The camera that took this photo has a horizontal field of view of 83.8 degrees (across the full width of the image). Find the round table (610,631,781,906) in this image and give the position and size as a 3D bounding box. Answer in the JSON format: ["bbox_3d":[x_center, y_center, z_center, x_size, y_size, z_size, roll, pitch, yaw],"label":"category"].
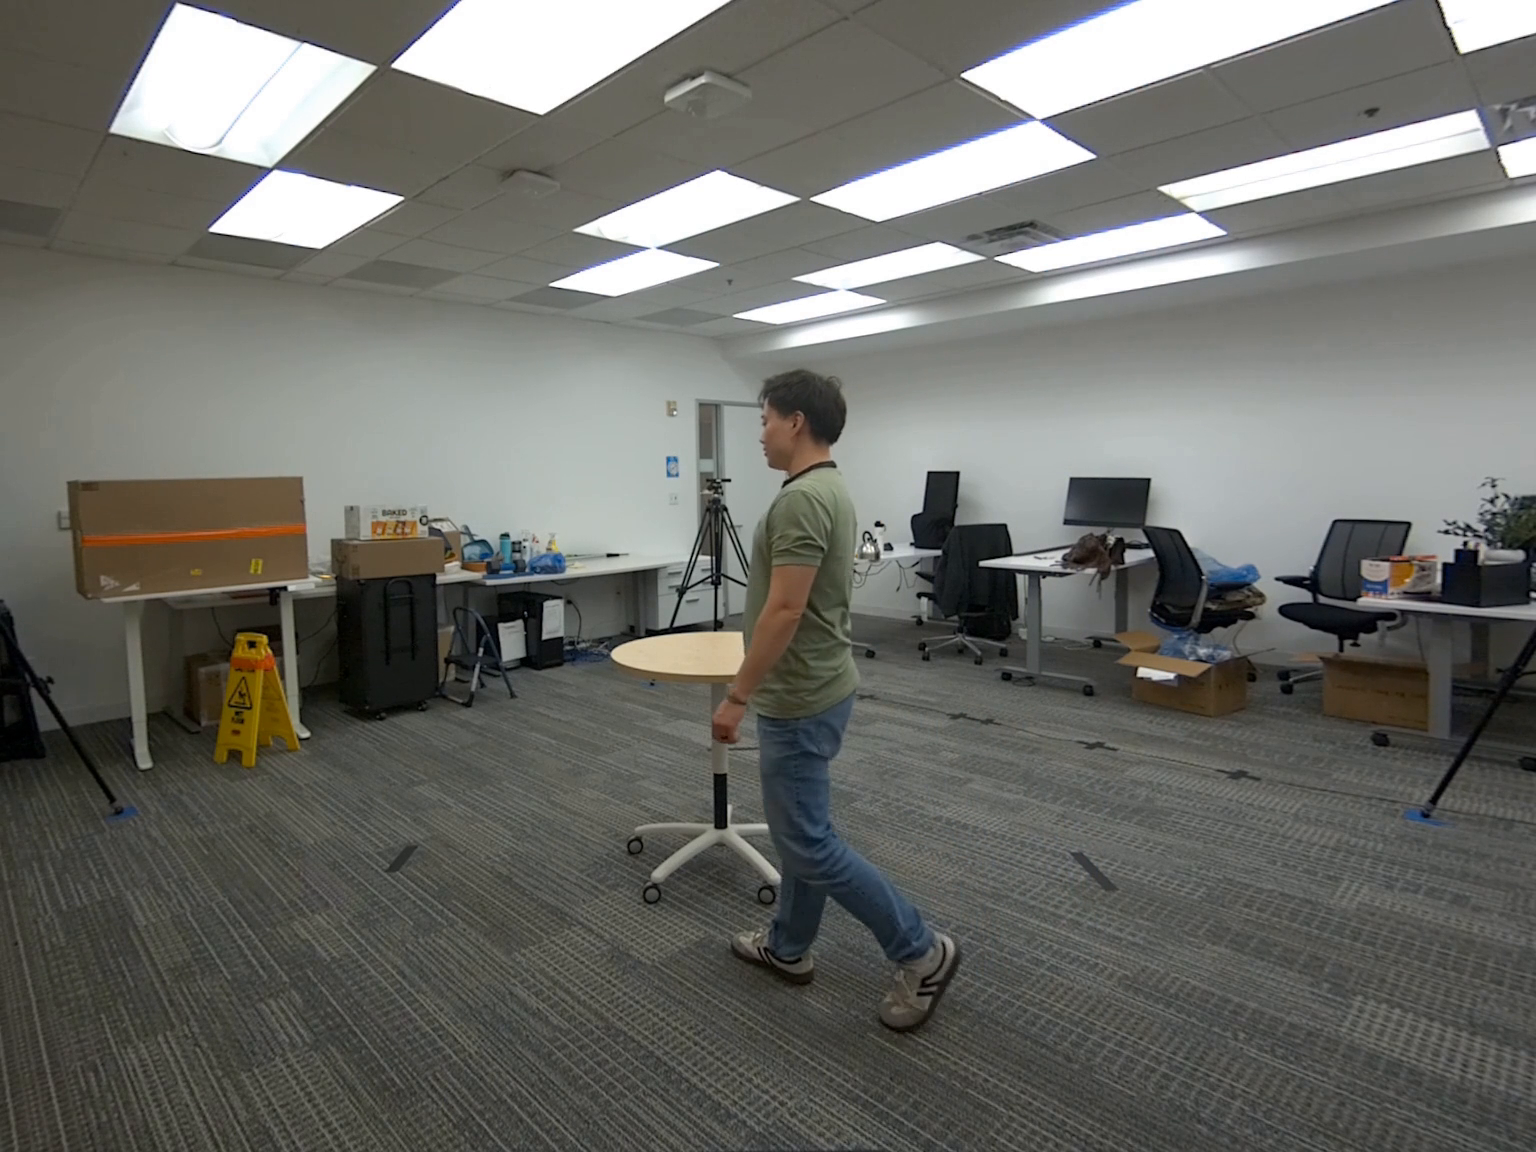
[{"bbox_3d":[-0.172,0.659,3.077,0.763,0.791,0.768,-1,5,-2],"label":"round table"}]
